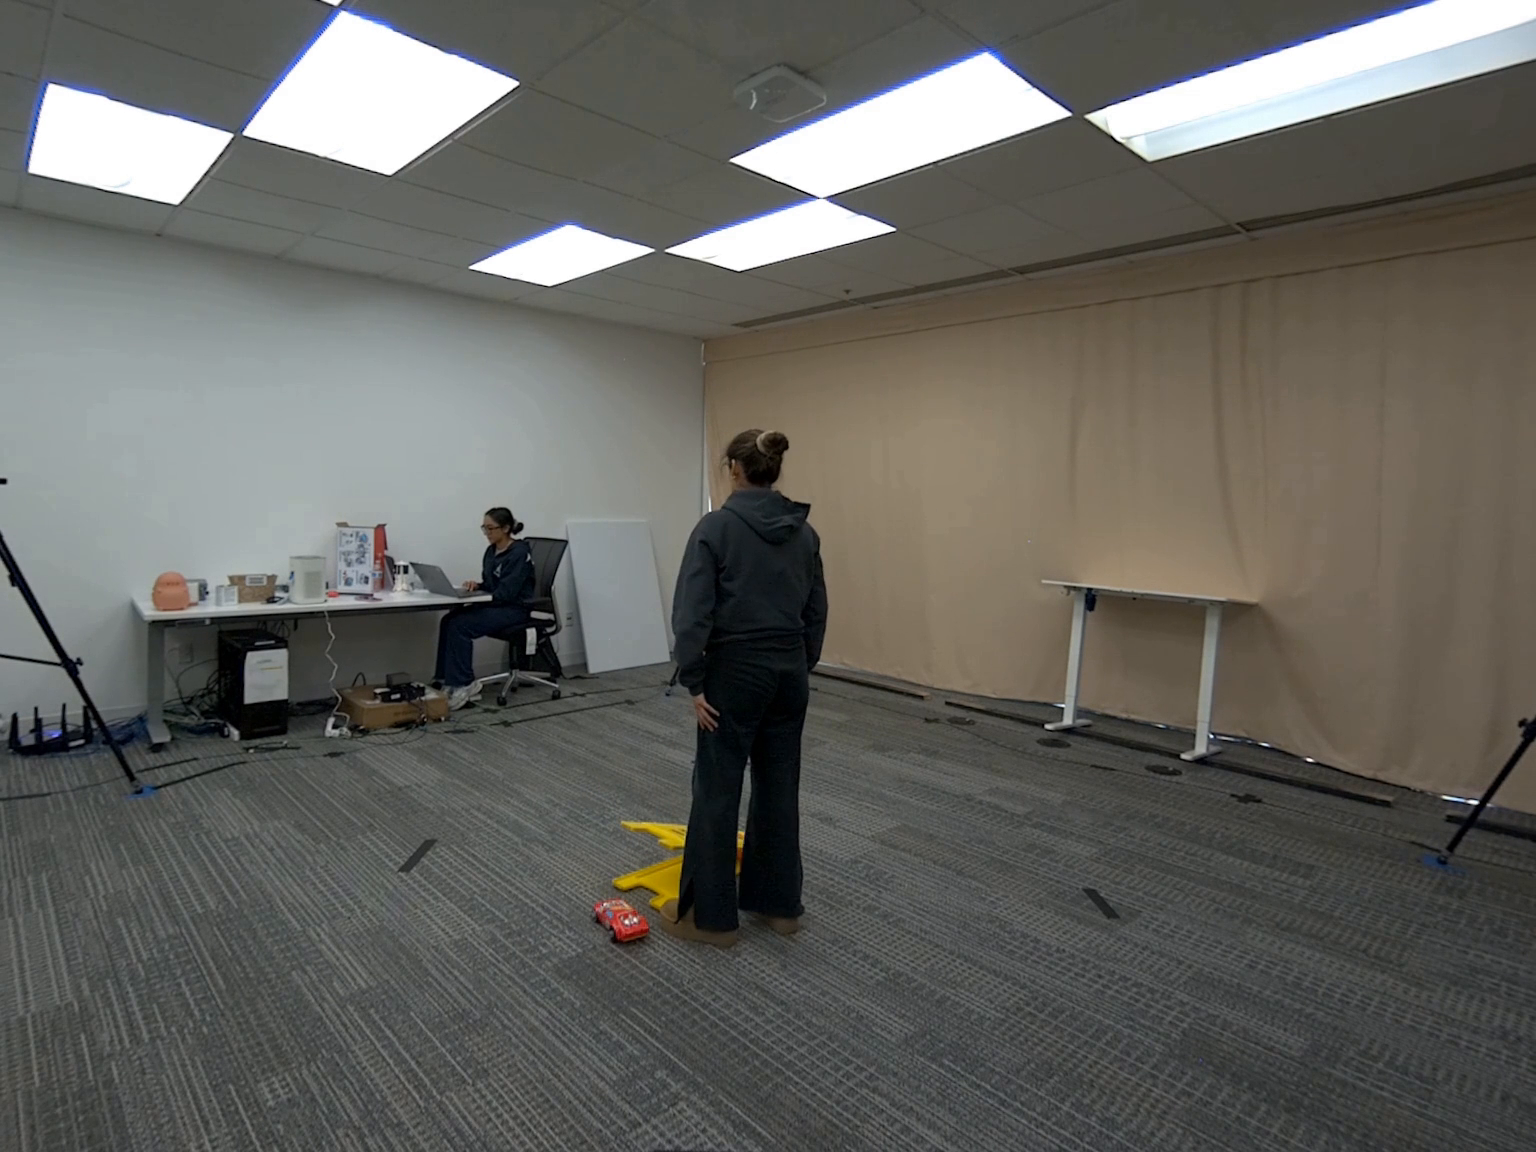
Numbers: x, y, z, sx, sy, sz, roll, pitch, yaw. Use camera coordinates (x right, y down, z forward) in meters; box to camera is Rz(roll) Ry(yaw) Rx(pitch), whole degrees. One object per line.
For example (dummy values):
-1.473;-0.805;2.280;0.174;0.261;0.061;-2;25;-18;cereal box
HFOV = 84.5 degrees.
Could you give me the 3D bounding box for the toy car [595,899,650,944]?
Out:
-0.472;1.104;2.704;0.127;0.083;0.259;-3;-2;-33;toy car
